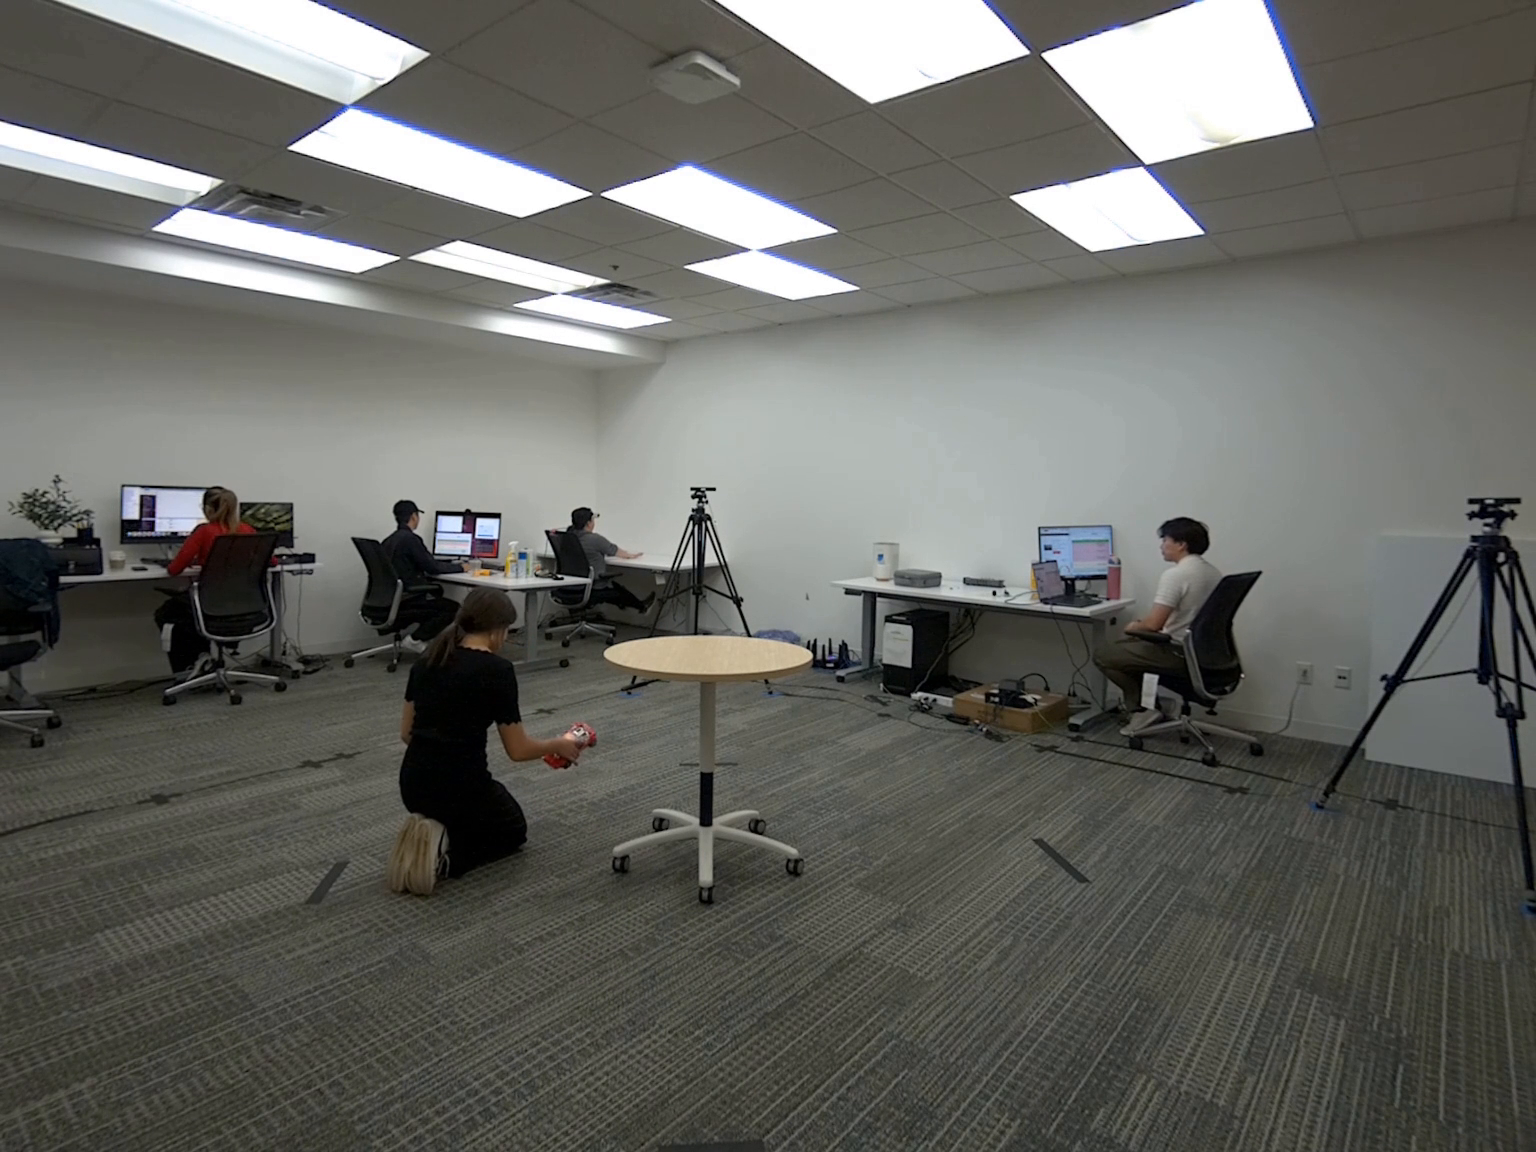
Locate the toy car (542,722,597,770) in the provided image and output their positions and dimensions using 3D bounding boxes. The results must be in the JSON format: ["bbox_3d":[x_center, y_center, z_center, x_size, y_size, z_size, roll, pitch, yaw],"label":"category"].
[{"bbox_3d":[-0.812,0.677,3.347,0.134,0.082,0.251,30,29,20],"label":"toy car"}]
